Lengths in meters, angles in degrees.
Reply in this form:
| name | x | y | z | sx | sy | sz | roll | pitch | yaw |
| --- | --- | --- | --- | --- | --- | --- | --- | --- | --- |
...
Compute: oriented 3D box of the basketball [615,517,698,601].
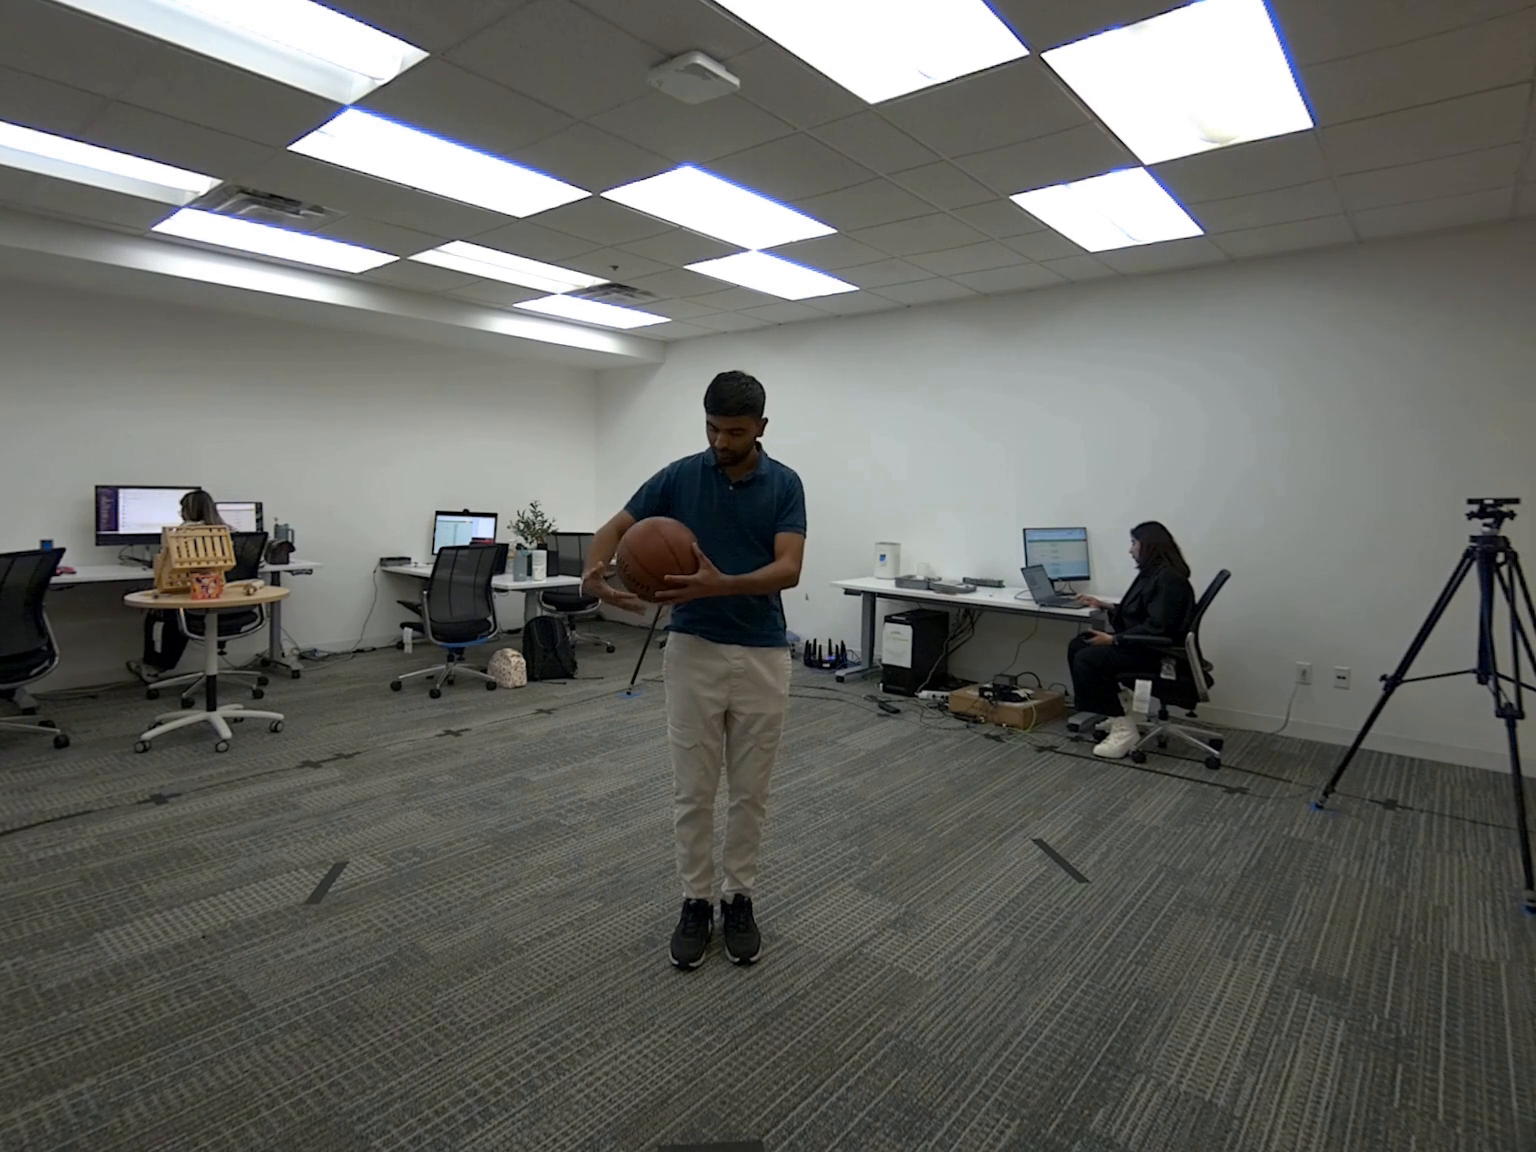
| name | x | y | z | sx | sy | sz | roll | pitch | yaw |
| --- | --- | --- | --- | --- | --- | --- | --- | --- | --- |
| basketball | -0.295 | -0.041 | 2.351 | 0.235 | 0.235 | 0.237 | 1 | 4 | -2 |
